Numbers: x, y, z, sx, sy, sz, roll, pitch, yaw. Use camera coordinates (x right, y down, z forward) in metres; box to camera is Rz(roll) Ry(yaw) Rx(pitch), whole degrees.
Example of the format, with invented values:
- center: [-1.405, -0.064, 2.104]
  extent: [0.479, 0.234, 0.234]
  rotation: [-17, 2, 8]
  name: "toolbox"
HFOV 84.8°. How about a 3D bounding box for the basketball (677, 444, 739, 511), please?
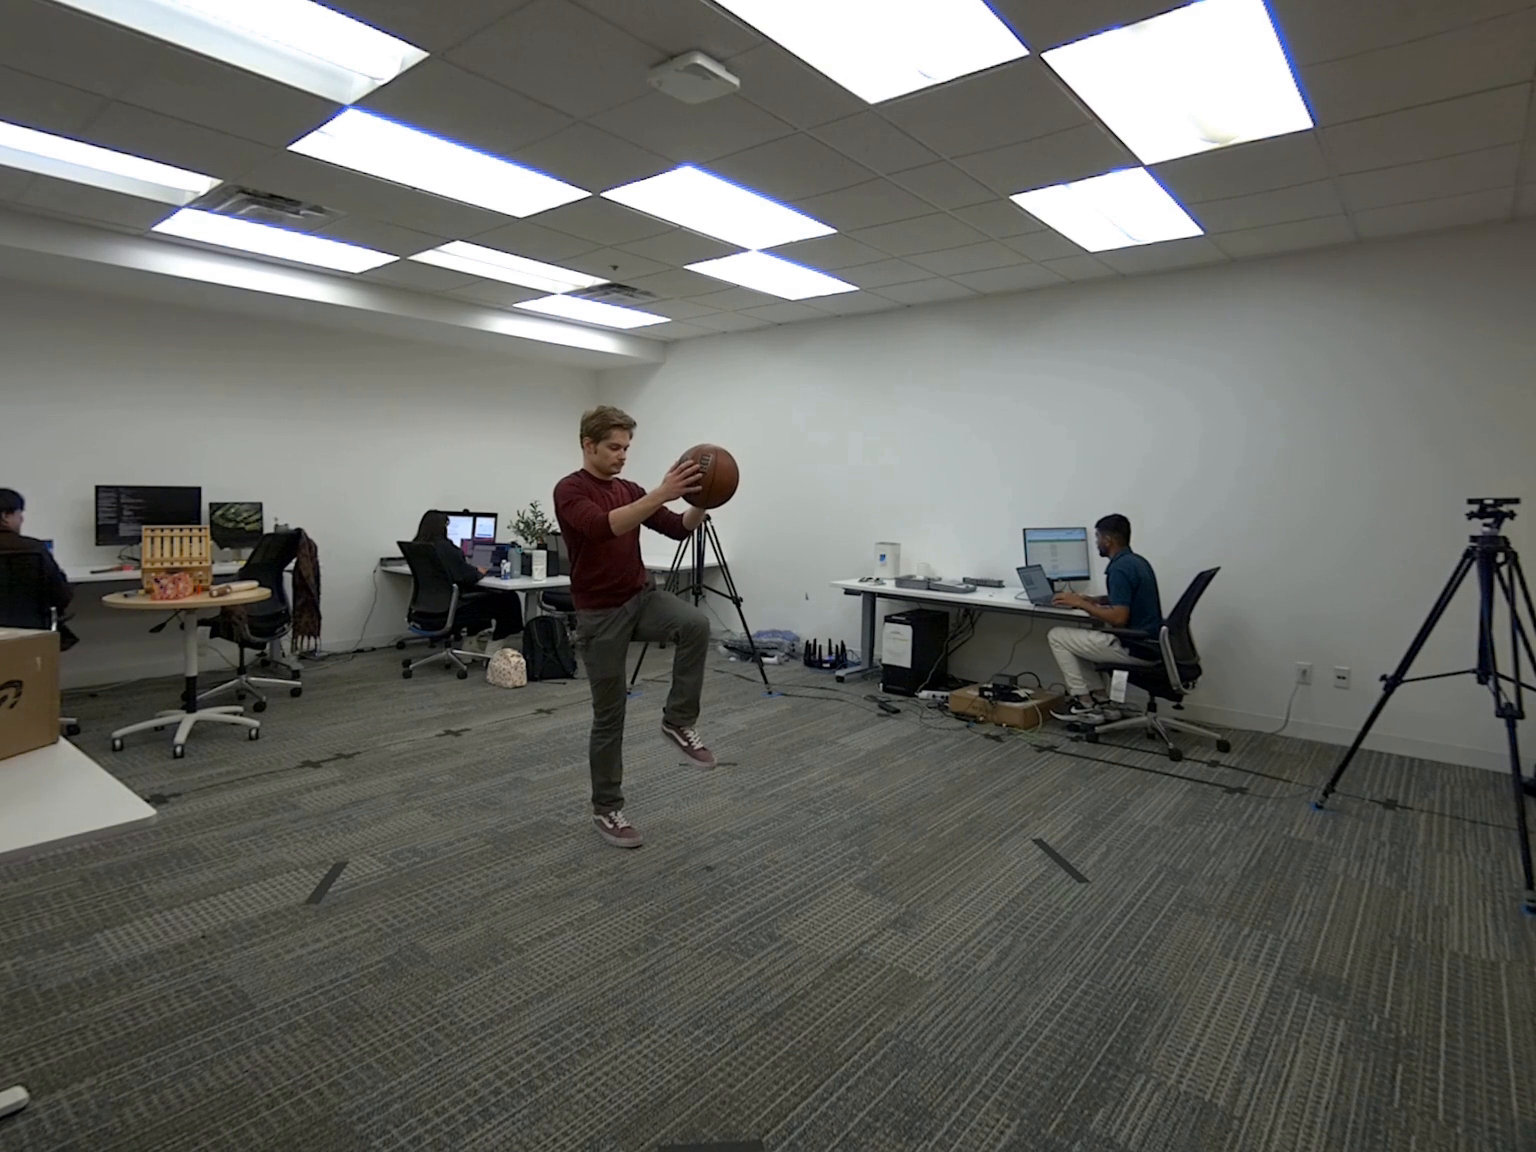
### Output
- center: [-0.231, -0.373, 3.120]
  extent: [0.235, 0.235, 0.237]
  rotation: [1, 4, -2]
  name: "basketball"
